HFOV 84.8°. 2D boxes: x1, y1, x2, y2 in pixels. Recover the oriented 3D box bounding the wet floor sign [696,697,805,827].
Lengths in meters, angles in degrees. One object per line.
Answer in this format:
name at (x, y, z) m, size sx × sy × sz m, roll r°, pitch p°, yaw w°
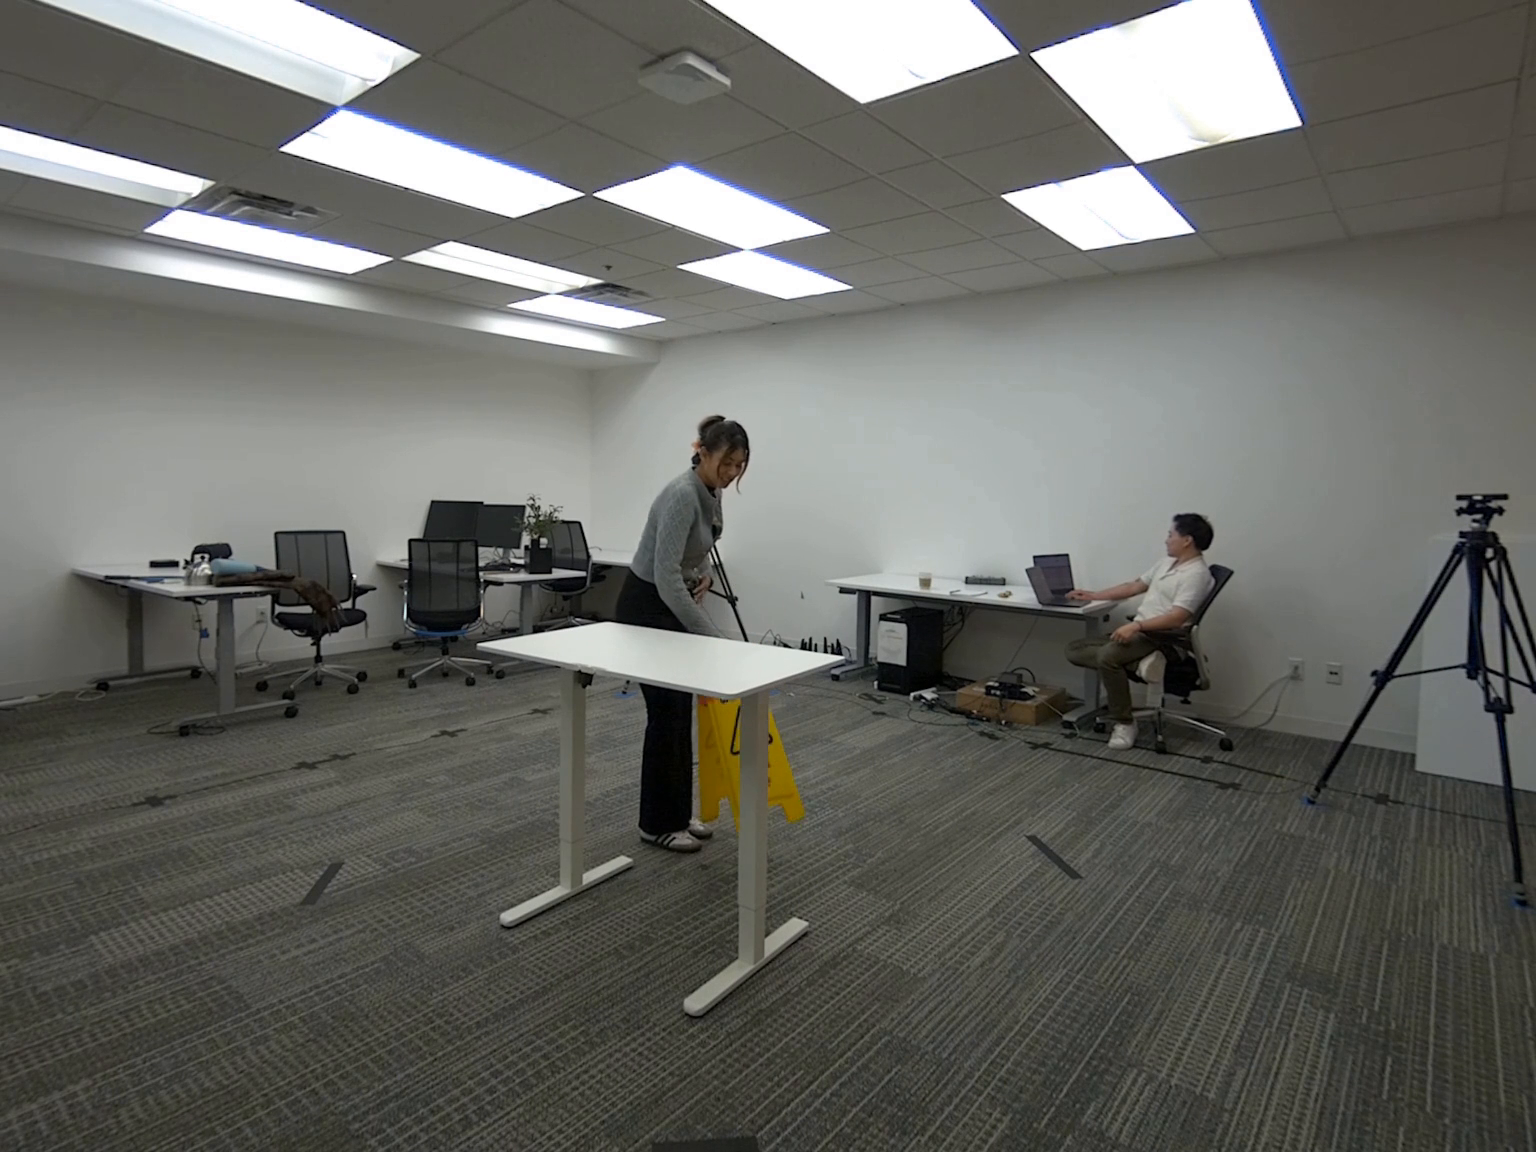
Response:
wet floor sign at (-0.129, 0.562, 3.097) m, size 0.276 × 0.645 × 0.297 m, roll -12°, pitch 3°, yaw -31°
